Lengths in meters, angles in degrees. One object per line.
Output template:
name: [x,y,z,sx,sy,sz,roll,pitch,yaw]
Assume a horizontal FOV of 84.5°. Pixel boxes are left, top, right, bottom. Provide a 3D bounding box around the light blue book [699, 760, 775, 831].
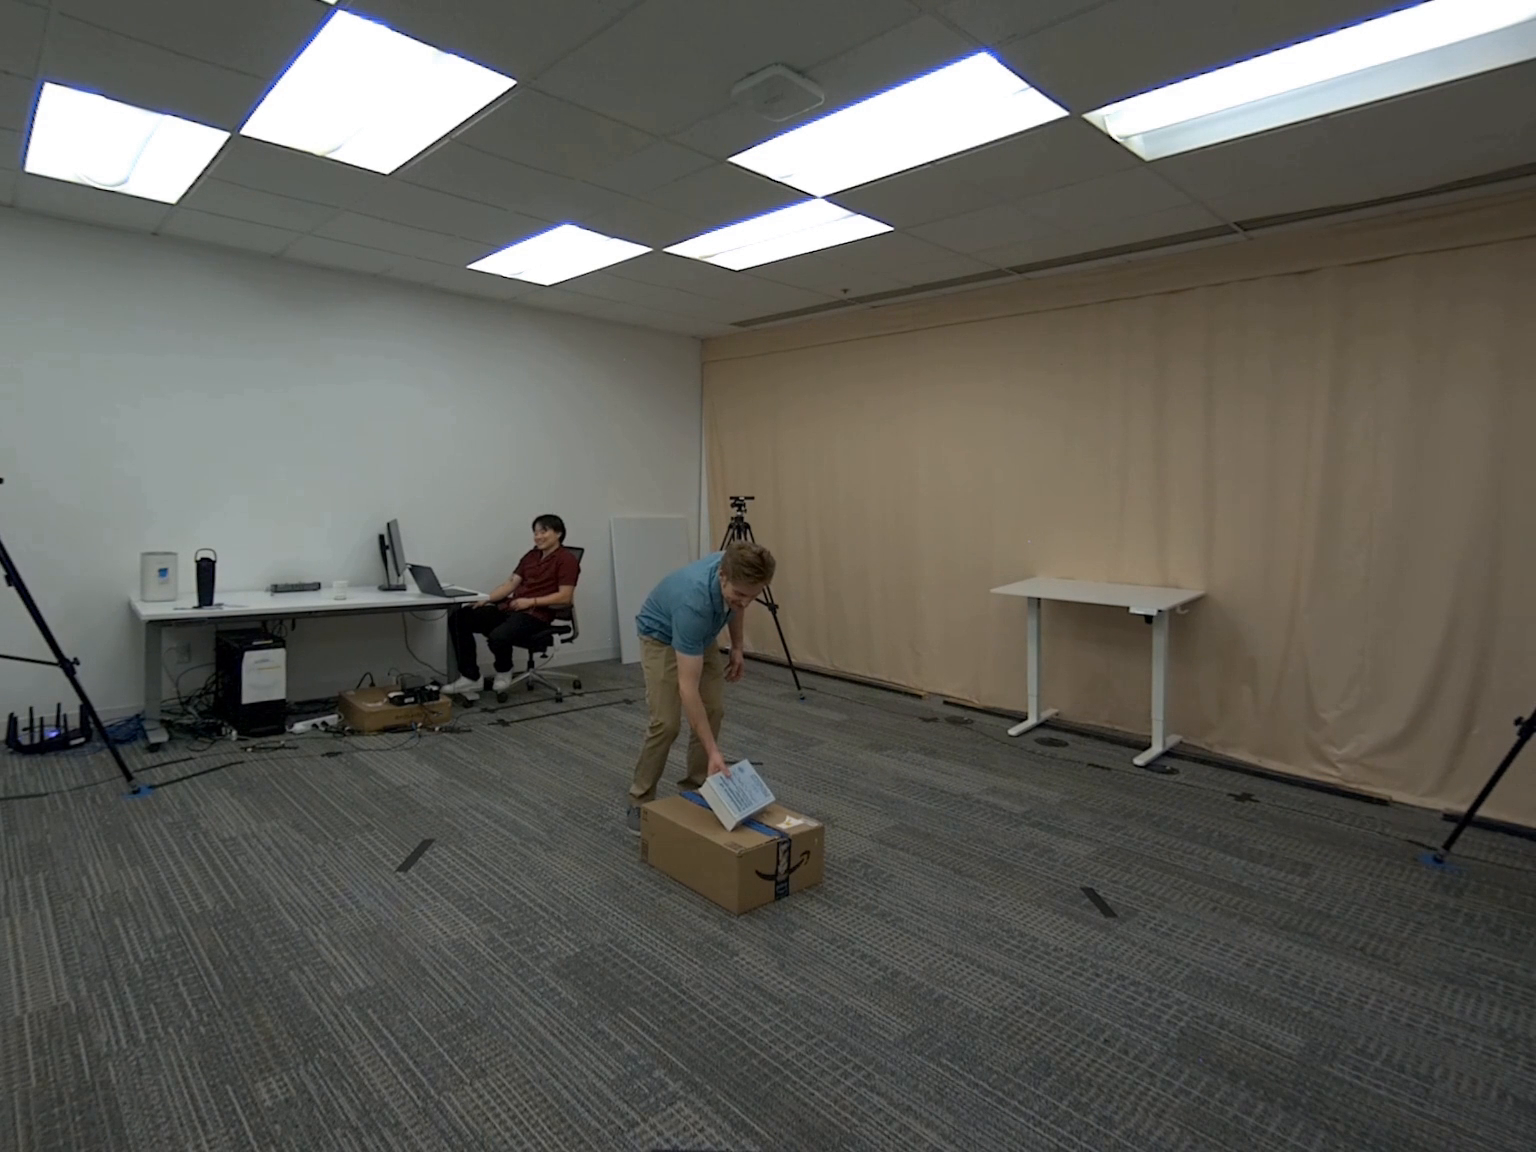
light blue book: [-0.126,0.803,3.096,0.195,0.059,0.256,48,27,20]
